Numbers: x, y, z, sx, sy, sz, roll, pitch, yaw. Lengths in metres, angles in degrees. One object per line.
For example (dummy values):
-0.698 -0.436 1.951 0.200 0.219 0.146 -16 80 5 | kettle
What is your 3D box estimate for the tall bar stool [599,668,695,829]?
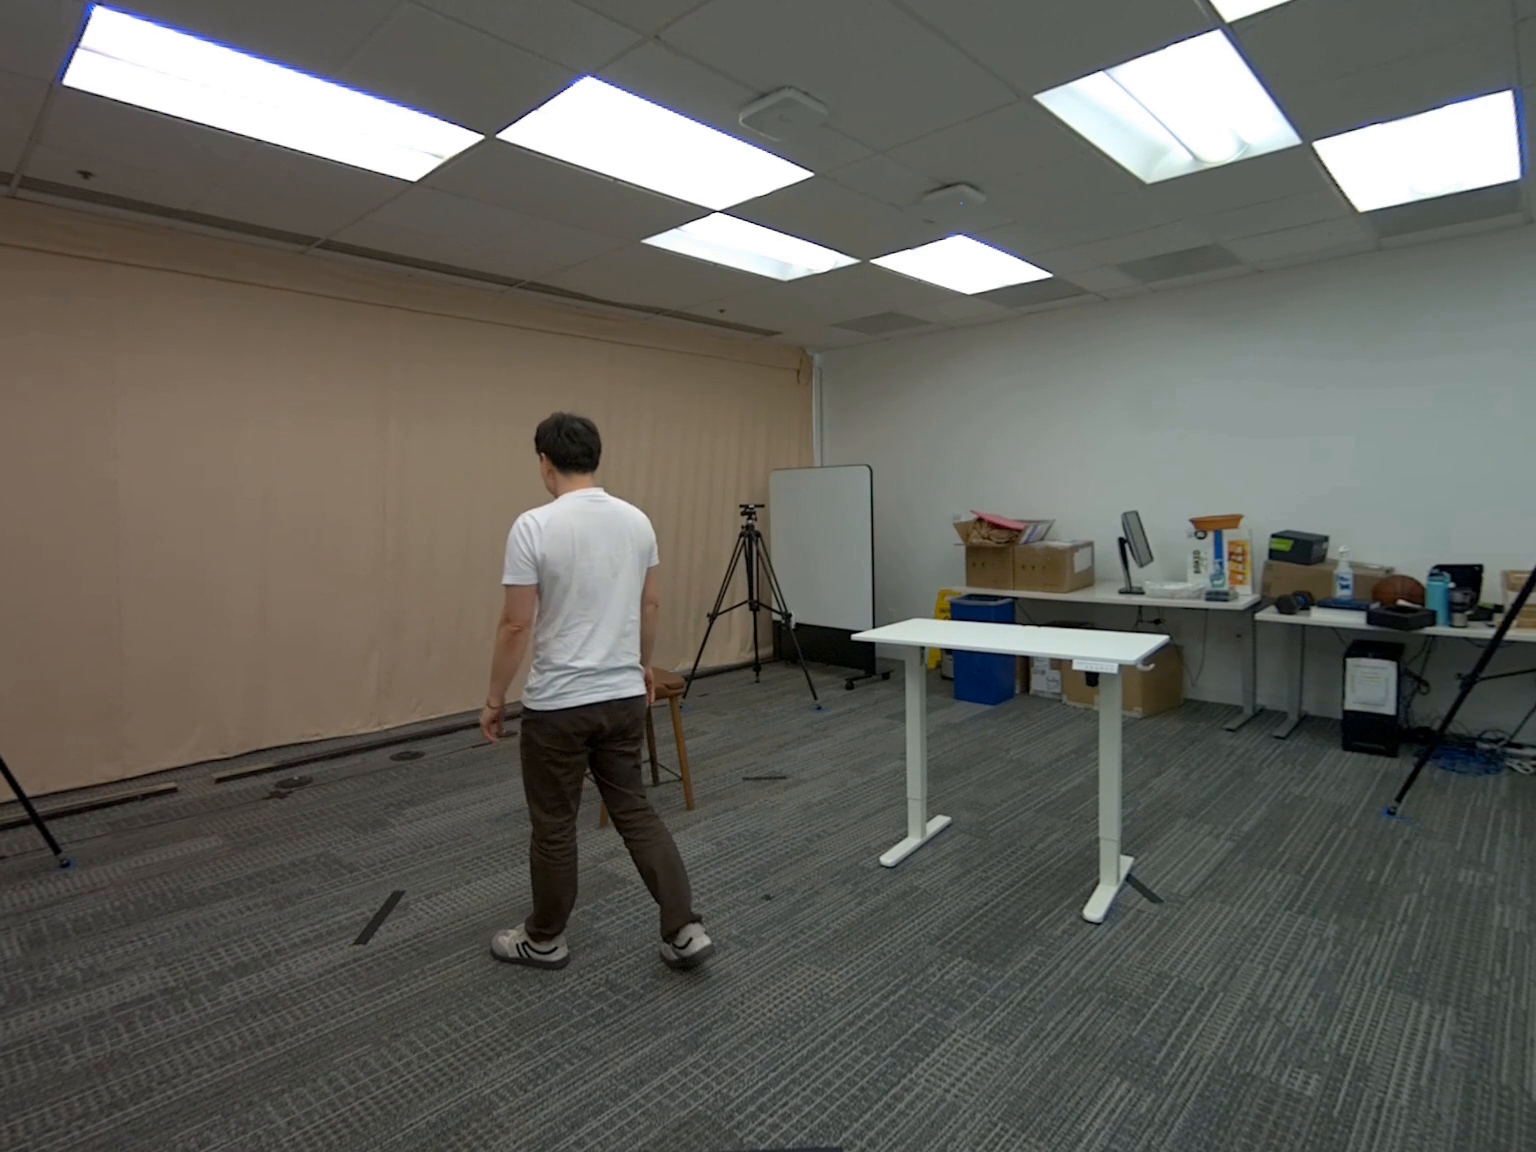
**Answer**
-0.651 0.639 3.909 0.455 0.887 0.470 -5 5 -30 | tall bar stool
